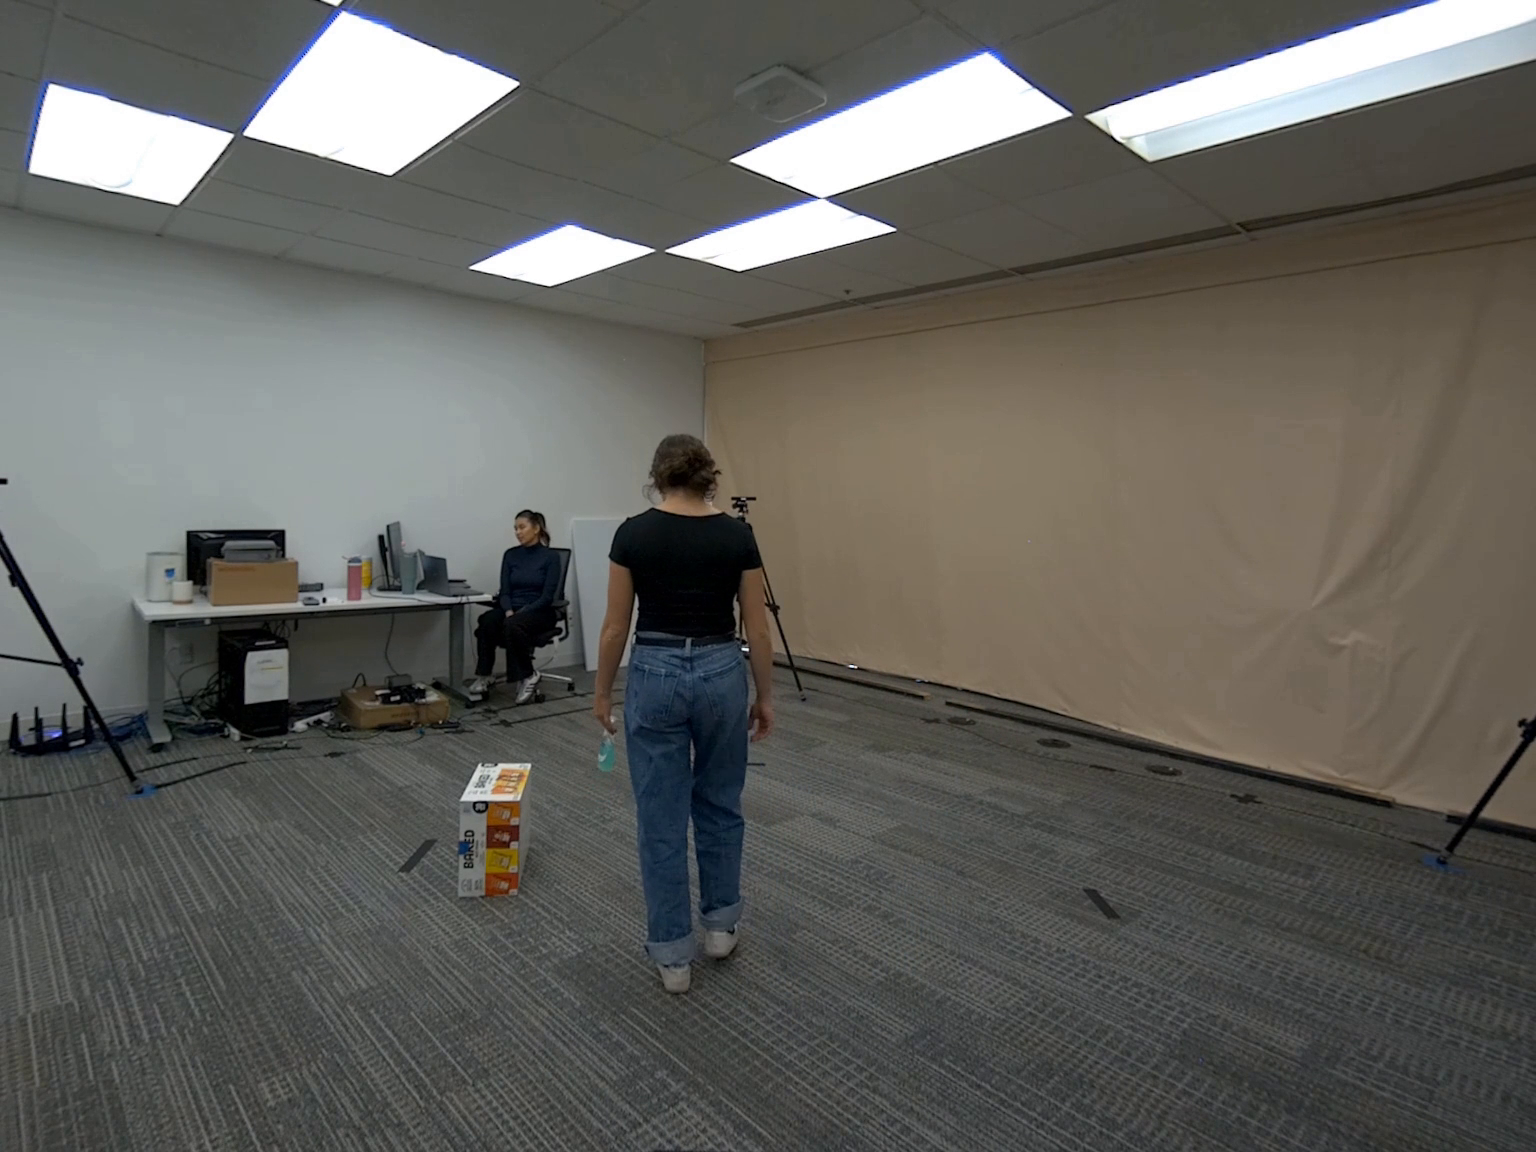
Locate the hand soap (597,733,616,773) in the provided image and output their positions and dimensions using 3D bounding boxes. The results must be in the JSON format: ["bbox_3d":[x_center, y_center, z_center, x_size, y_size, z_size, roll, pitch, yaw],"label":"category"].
[{"bbox_3d":[-0.500,0.519,2.600,0.042,0.168,0.087,7,4,-31],"label":"hand soap"}]
